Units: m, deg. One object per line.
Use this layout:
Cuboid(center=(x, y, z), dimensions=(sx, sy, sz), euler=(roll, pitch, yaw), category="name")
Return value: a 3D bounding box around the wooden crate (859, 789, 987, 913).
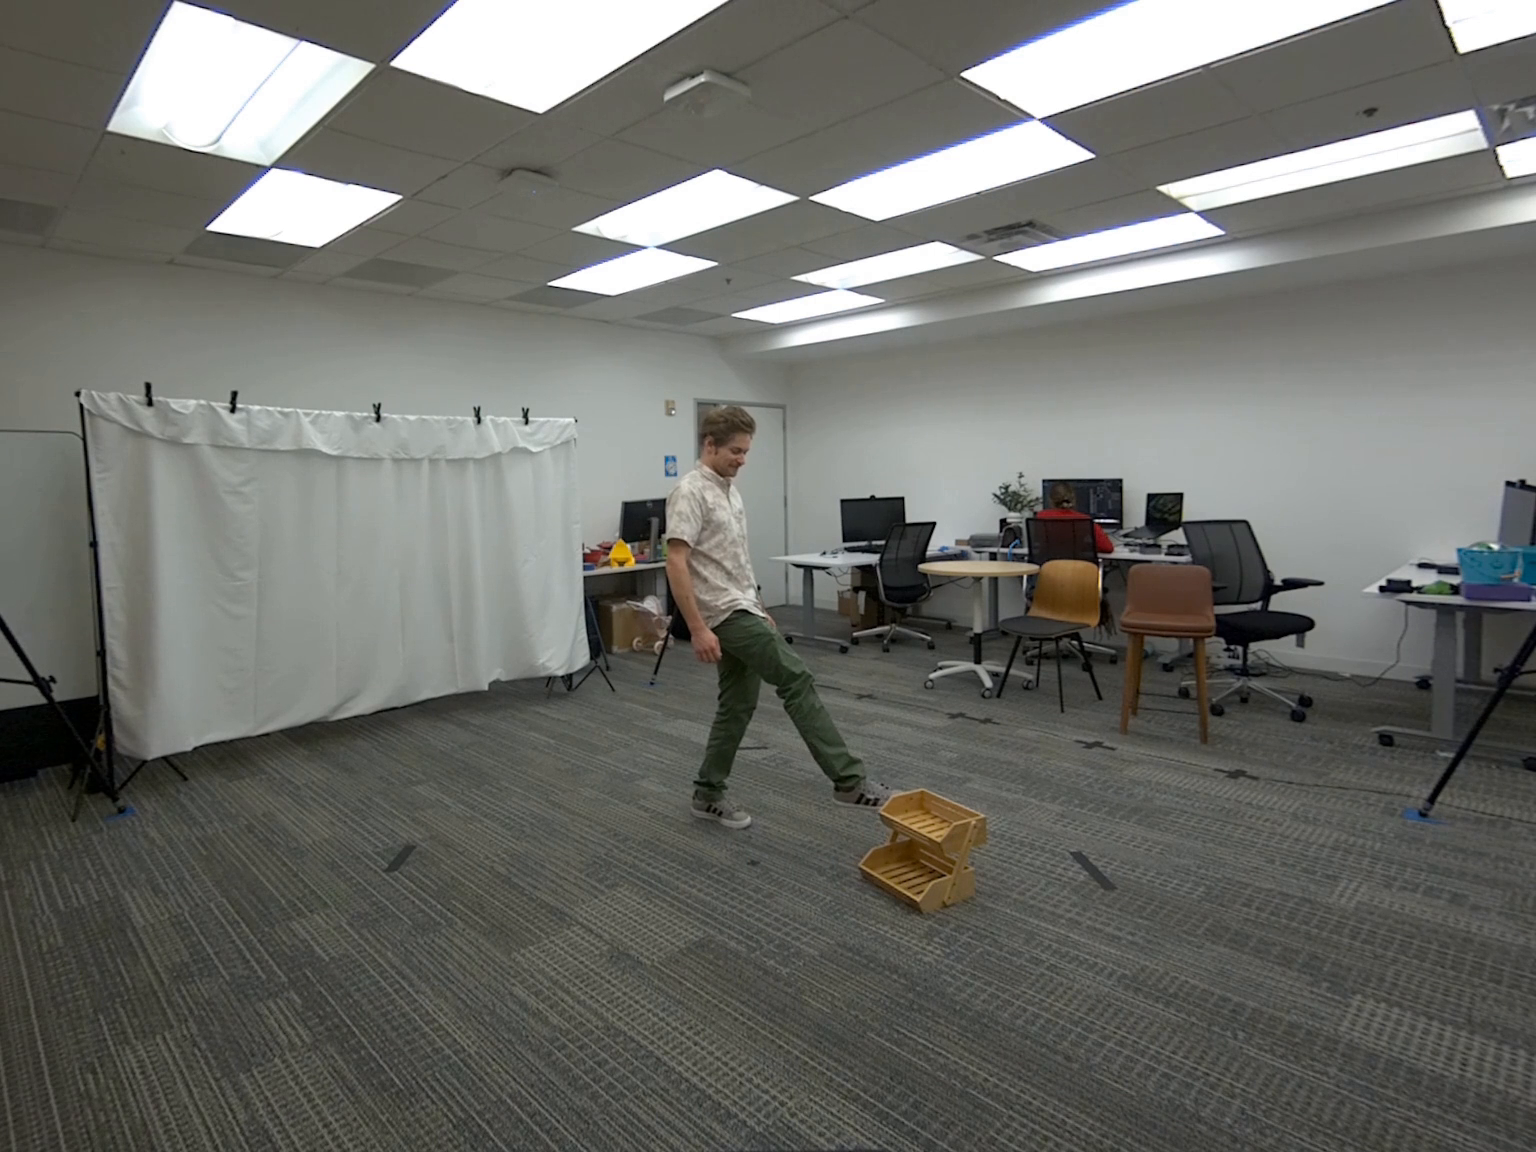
Cuboid(center=(0.524, 0.920, 2.904), dimensions=(0.294, 0.272, 0.334), euler=(-3, 6, -32), category="wooden crate")
